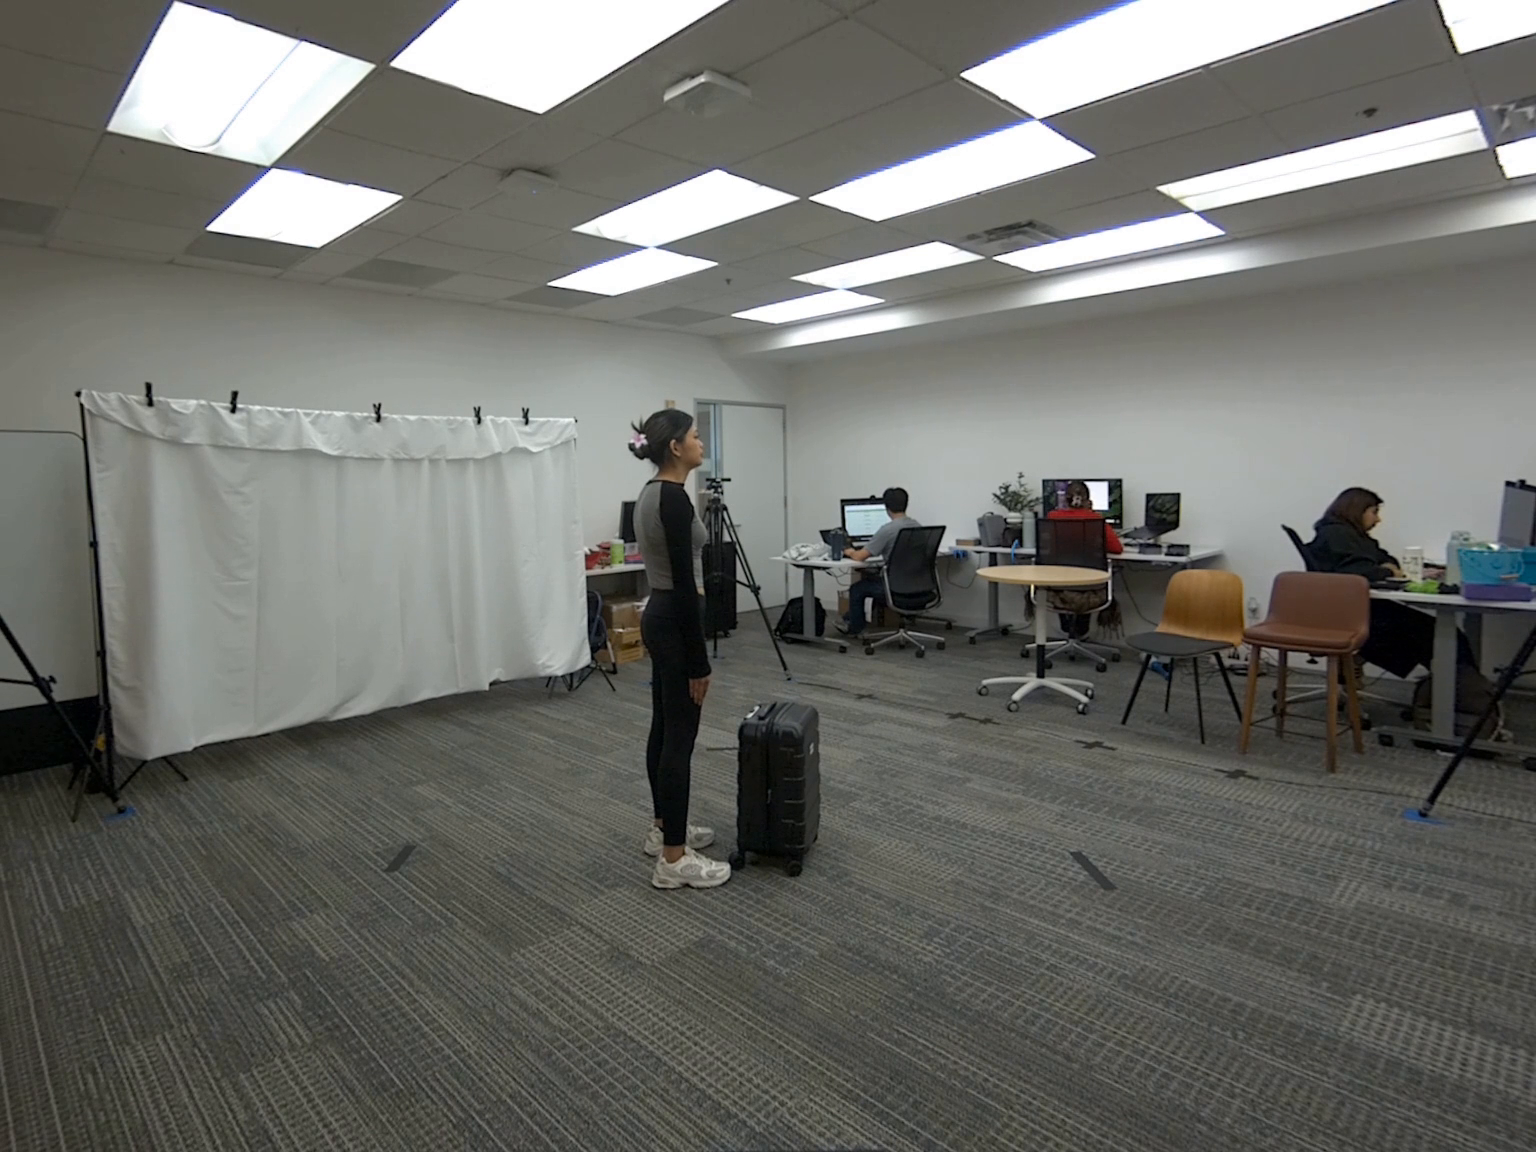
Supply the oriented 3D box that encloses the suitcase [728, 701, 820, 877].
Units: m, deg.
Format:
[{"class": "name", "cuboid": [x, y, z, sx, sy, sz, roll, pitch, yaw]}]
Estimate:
[{"class": "suitcase", "cuboid": [0.044, 0.759, 3.170, 0.252, 0.547, 0.371, 2, 4, 15]}]
